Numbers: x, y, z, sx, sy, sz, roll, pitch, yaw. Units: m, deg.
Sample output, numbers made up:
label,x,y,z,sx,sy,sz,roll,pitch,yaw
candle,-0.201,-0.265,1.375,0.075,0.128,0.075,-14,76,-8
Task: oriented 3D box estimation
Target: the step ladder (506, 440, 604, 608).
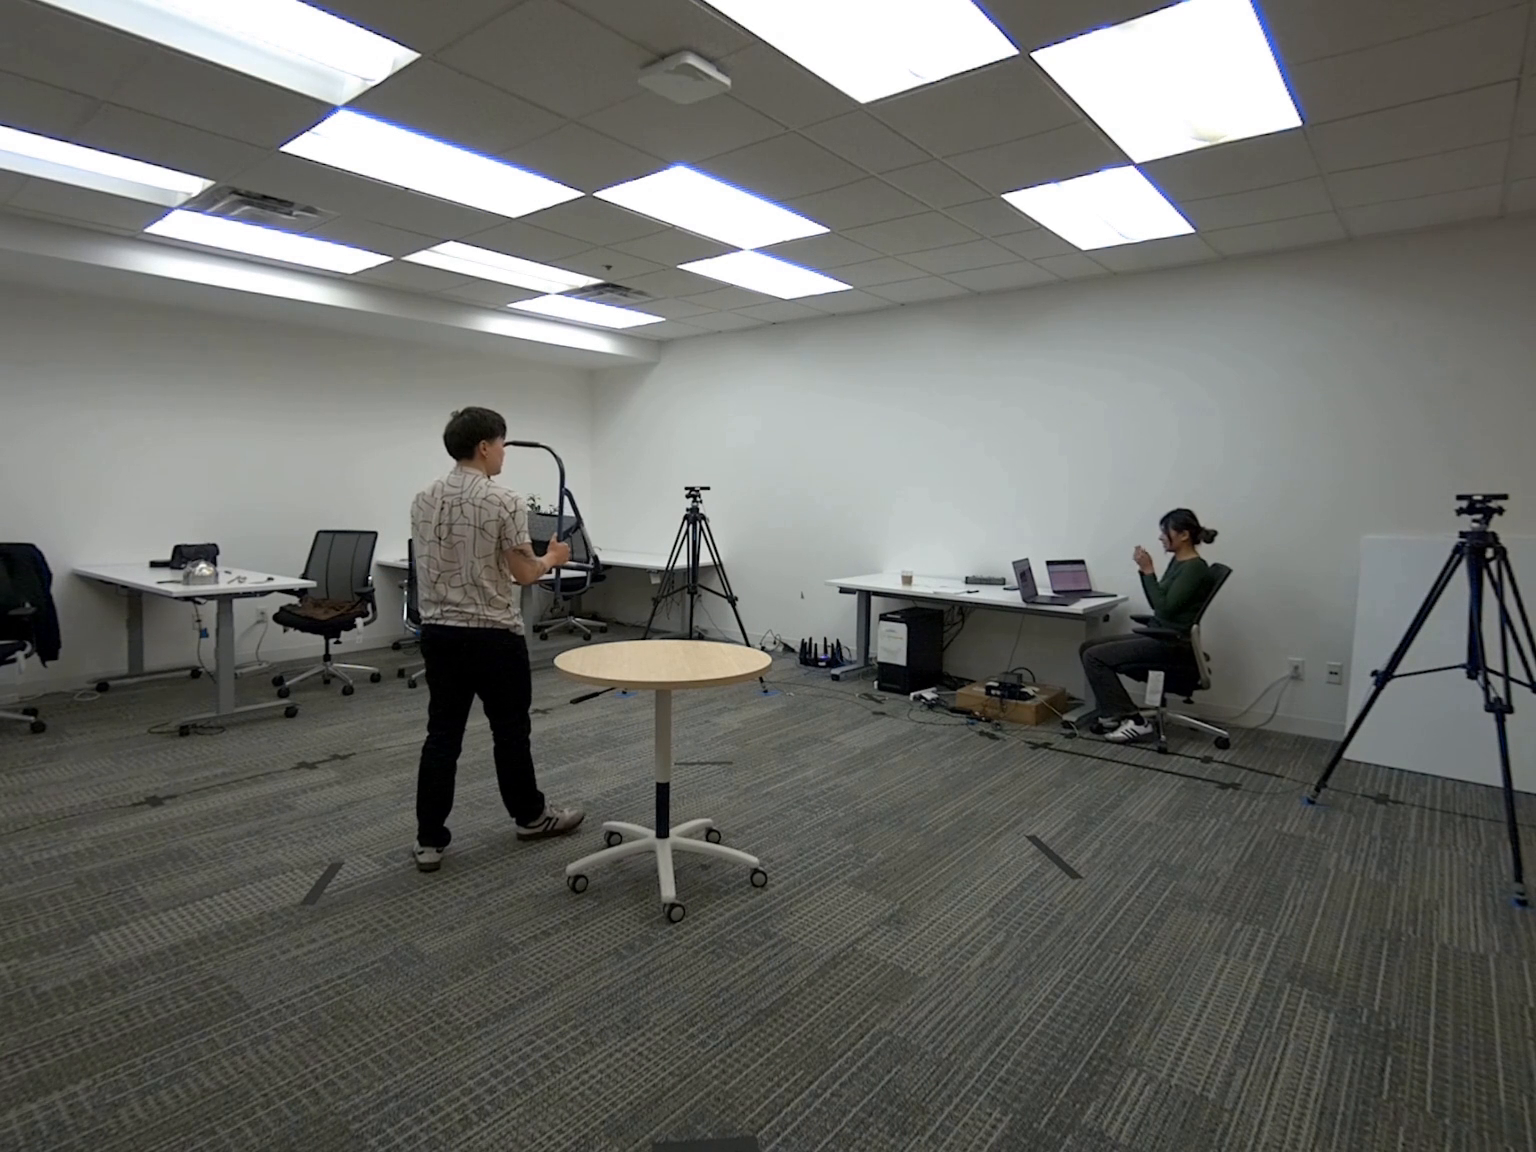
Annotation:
label,x,y,z,sx,sy,sz,roll,pitch,yaw
step ladder,-1.004,-0.248,3.504,0.443,0.592,0.348,9,27,25
